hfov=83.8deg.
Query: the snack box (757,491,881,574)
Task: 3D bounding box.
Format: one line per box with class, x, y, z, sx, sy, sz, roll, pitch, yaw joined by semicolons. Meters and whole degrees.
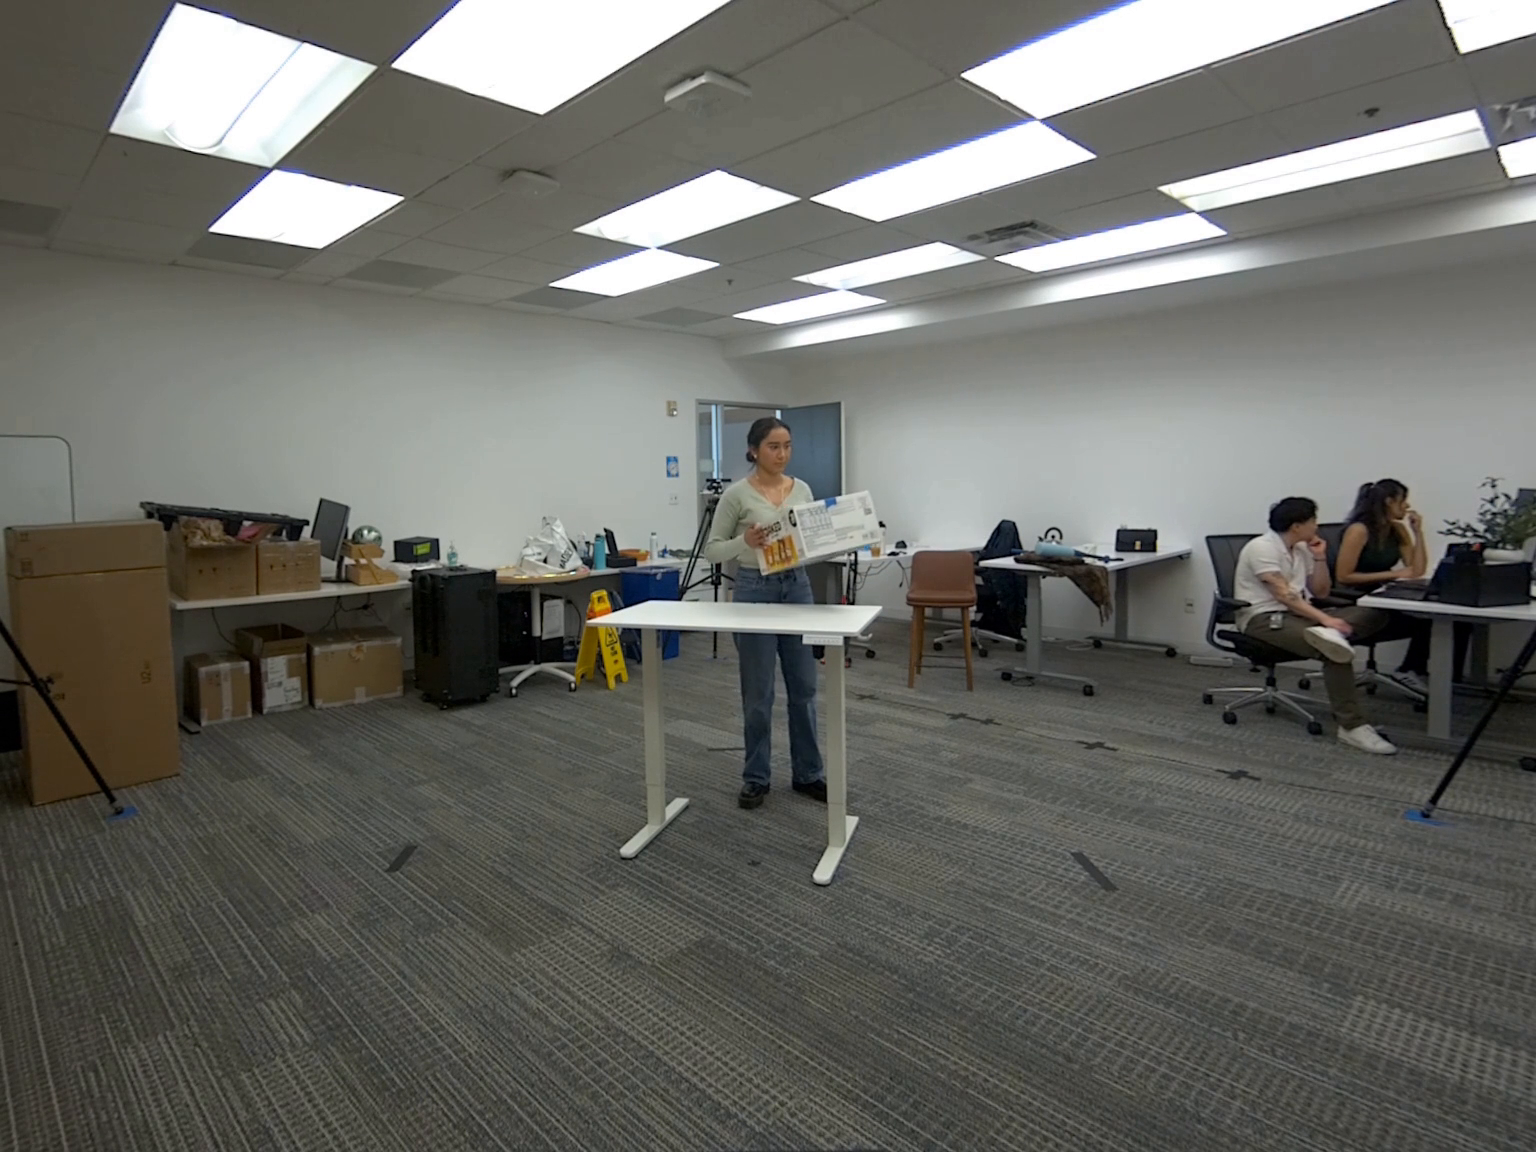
snack box;0.182;-0.158;3.368;0.335;0.207;0.409;-14;-4;-24
